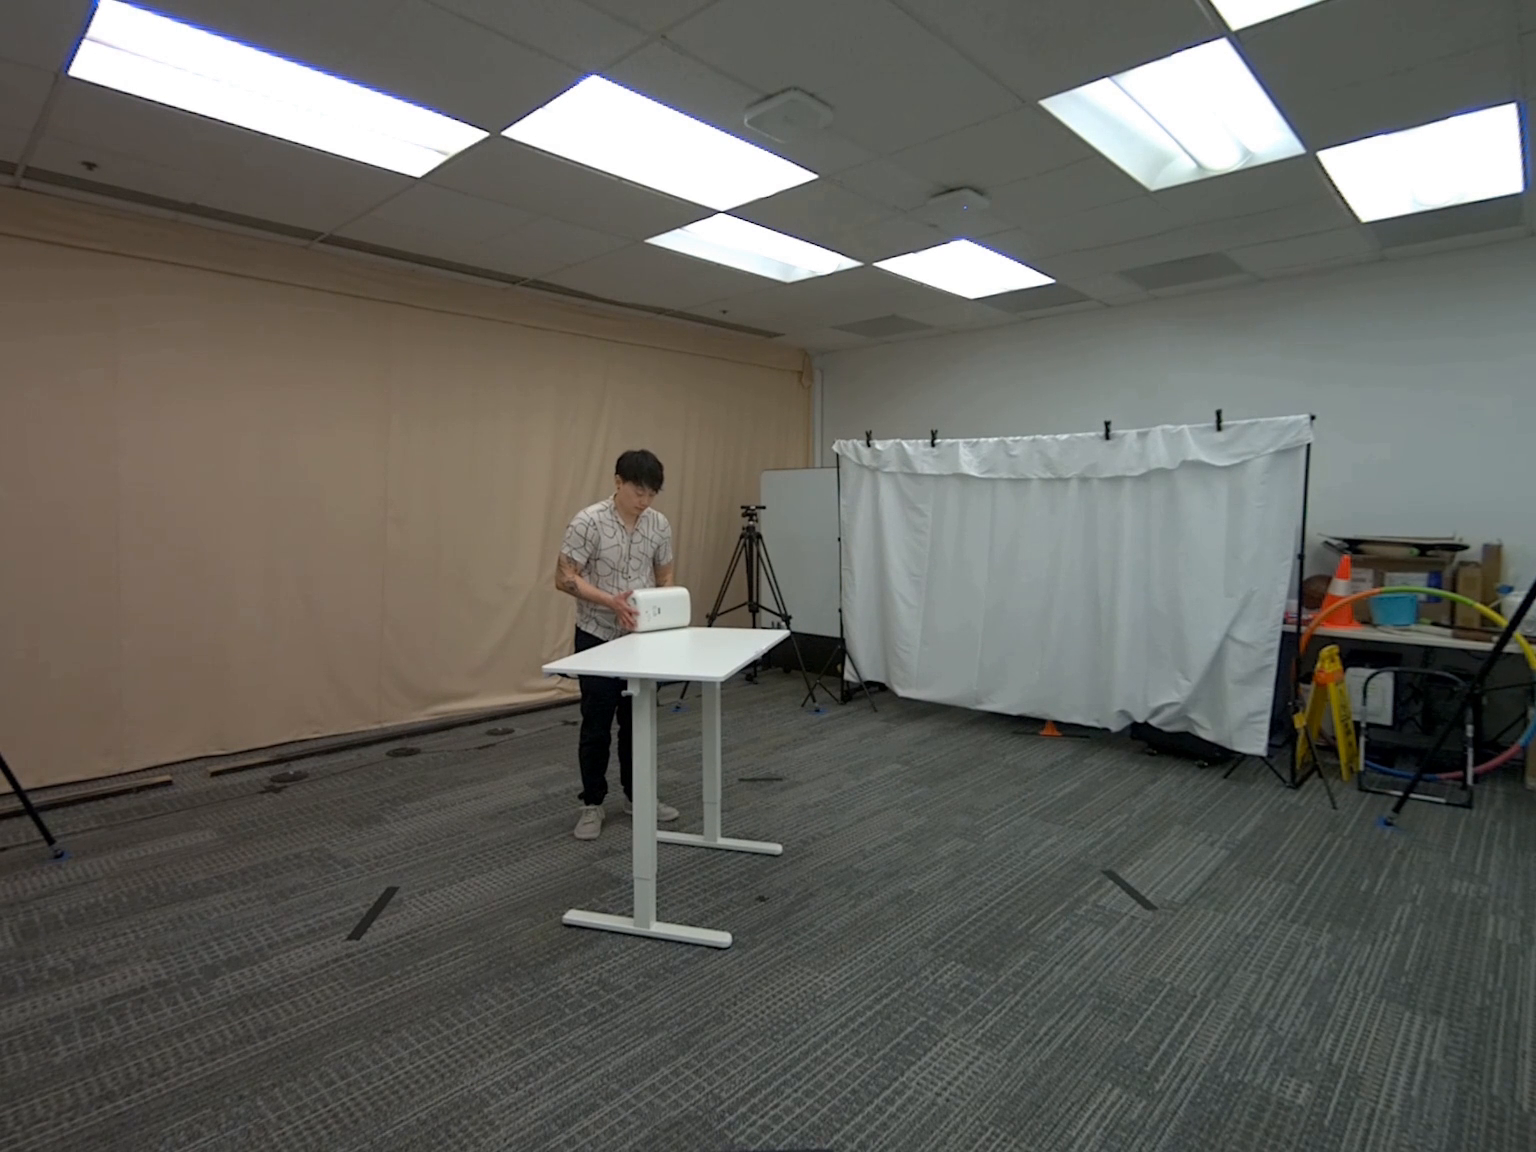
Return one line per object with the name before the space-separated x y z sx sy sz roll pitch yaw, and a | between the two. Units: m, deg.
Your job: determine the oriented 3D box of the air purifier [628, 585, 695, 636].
air purifier | -0.464 0.134 3.509 0.177 0.170 0.257 3 6 43
